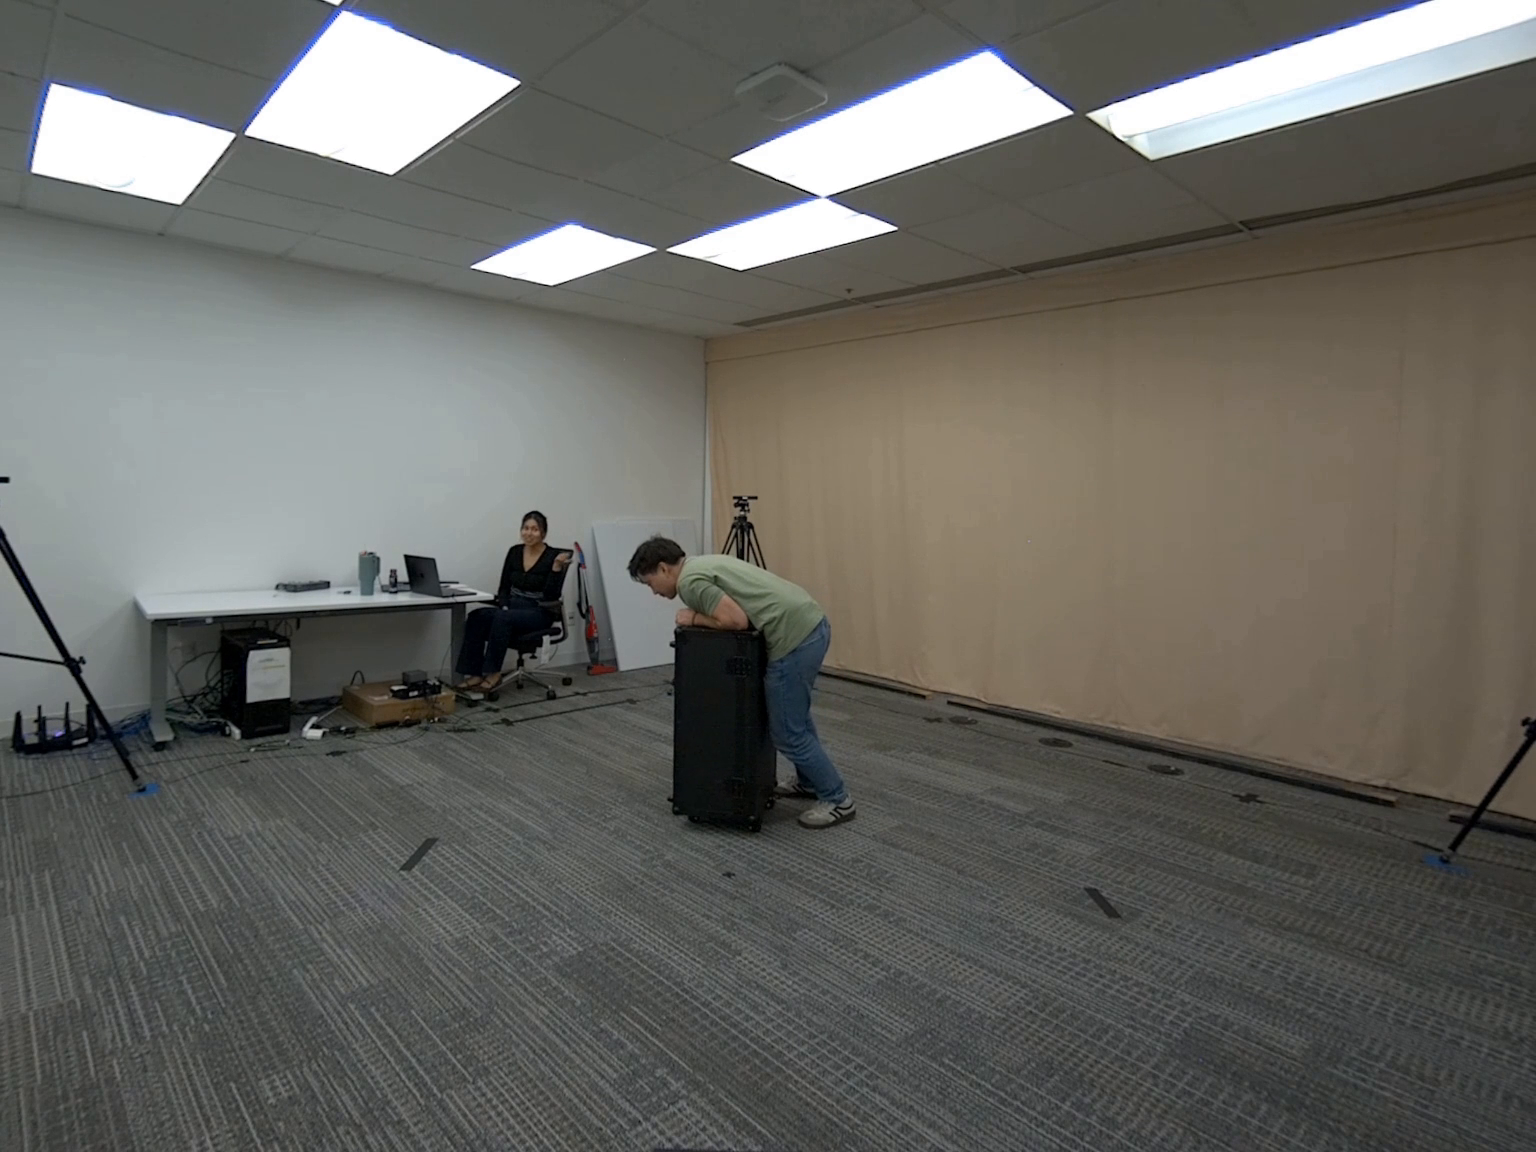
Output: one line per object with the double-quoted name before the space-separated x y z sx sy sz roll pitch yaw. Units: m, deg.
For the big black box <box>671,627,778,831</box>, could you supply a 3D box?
"big black box" -0.191 0.631 3.670 0.400 0.860 0.517 1 3 12
